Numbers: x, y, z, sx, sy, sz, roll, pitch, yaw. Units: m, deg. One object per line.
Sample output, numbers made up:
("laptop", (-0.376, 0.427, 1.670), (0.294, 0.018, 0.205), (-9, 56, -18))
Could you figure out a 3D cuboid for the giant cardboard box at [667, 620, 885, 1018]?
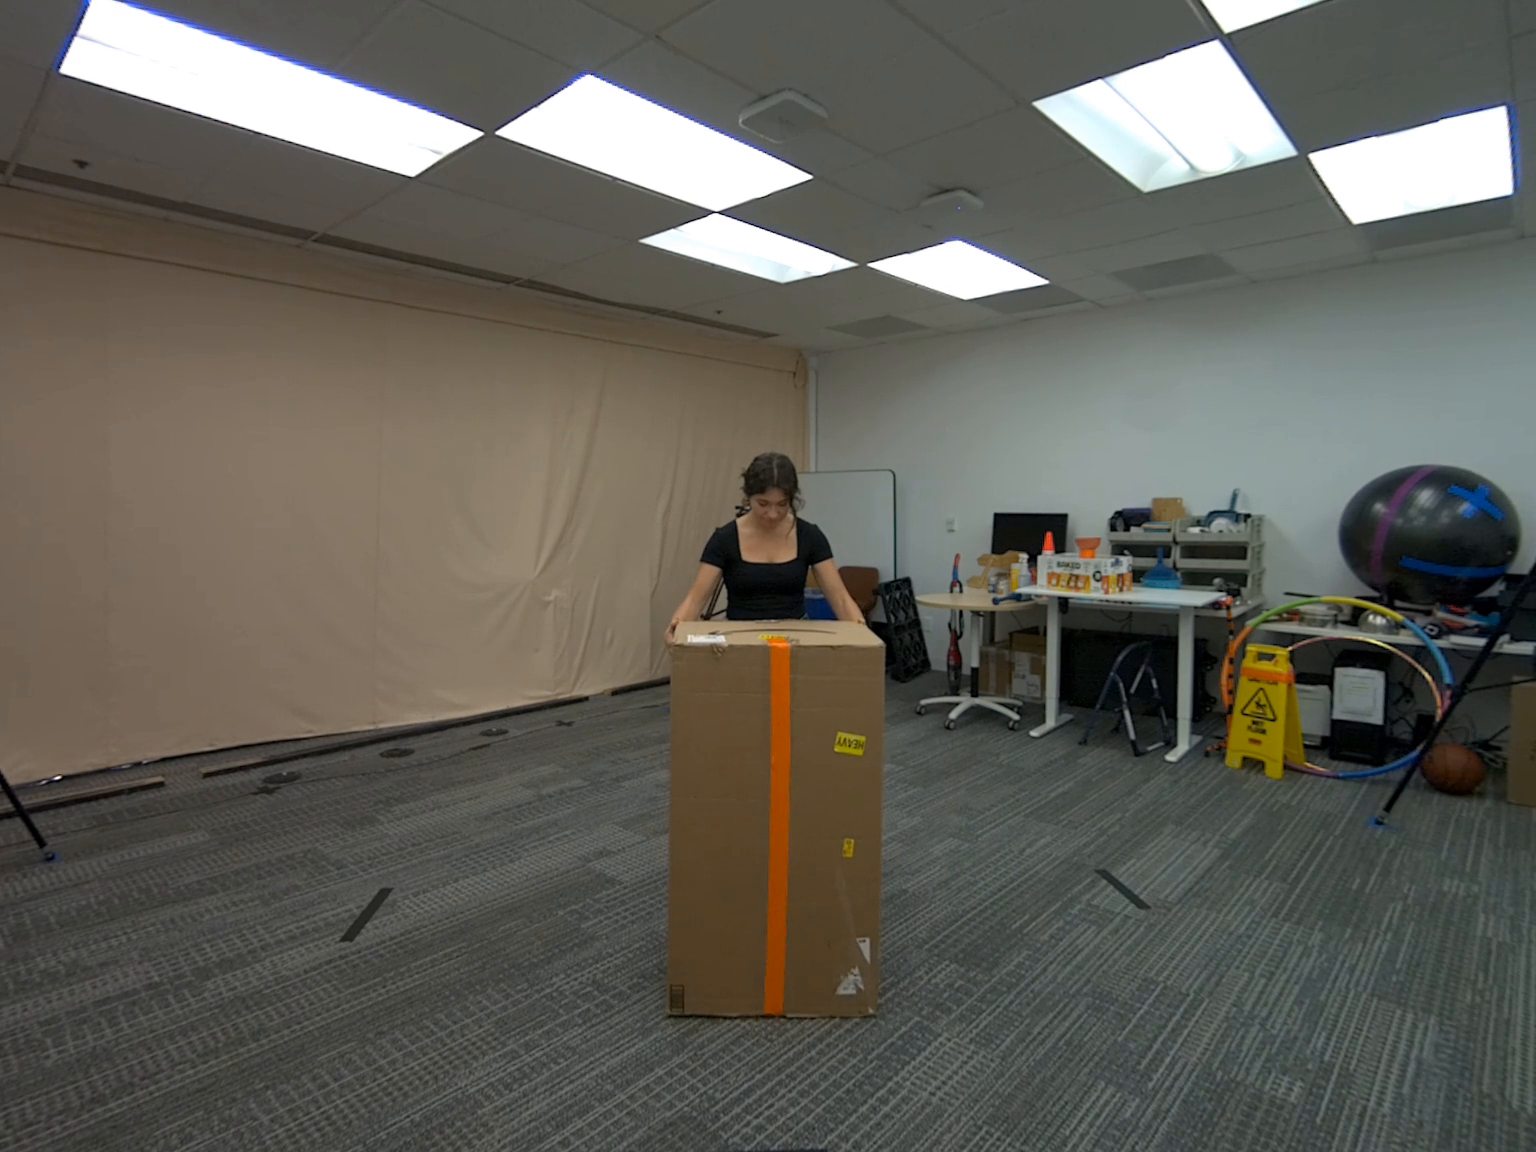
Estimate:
("giant cardboard box", (0.009, 0.672, 2.462), (0.577, 1.023, 0.427), (0, 3, -1))
